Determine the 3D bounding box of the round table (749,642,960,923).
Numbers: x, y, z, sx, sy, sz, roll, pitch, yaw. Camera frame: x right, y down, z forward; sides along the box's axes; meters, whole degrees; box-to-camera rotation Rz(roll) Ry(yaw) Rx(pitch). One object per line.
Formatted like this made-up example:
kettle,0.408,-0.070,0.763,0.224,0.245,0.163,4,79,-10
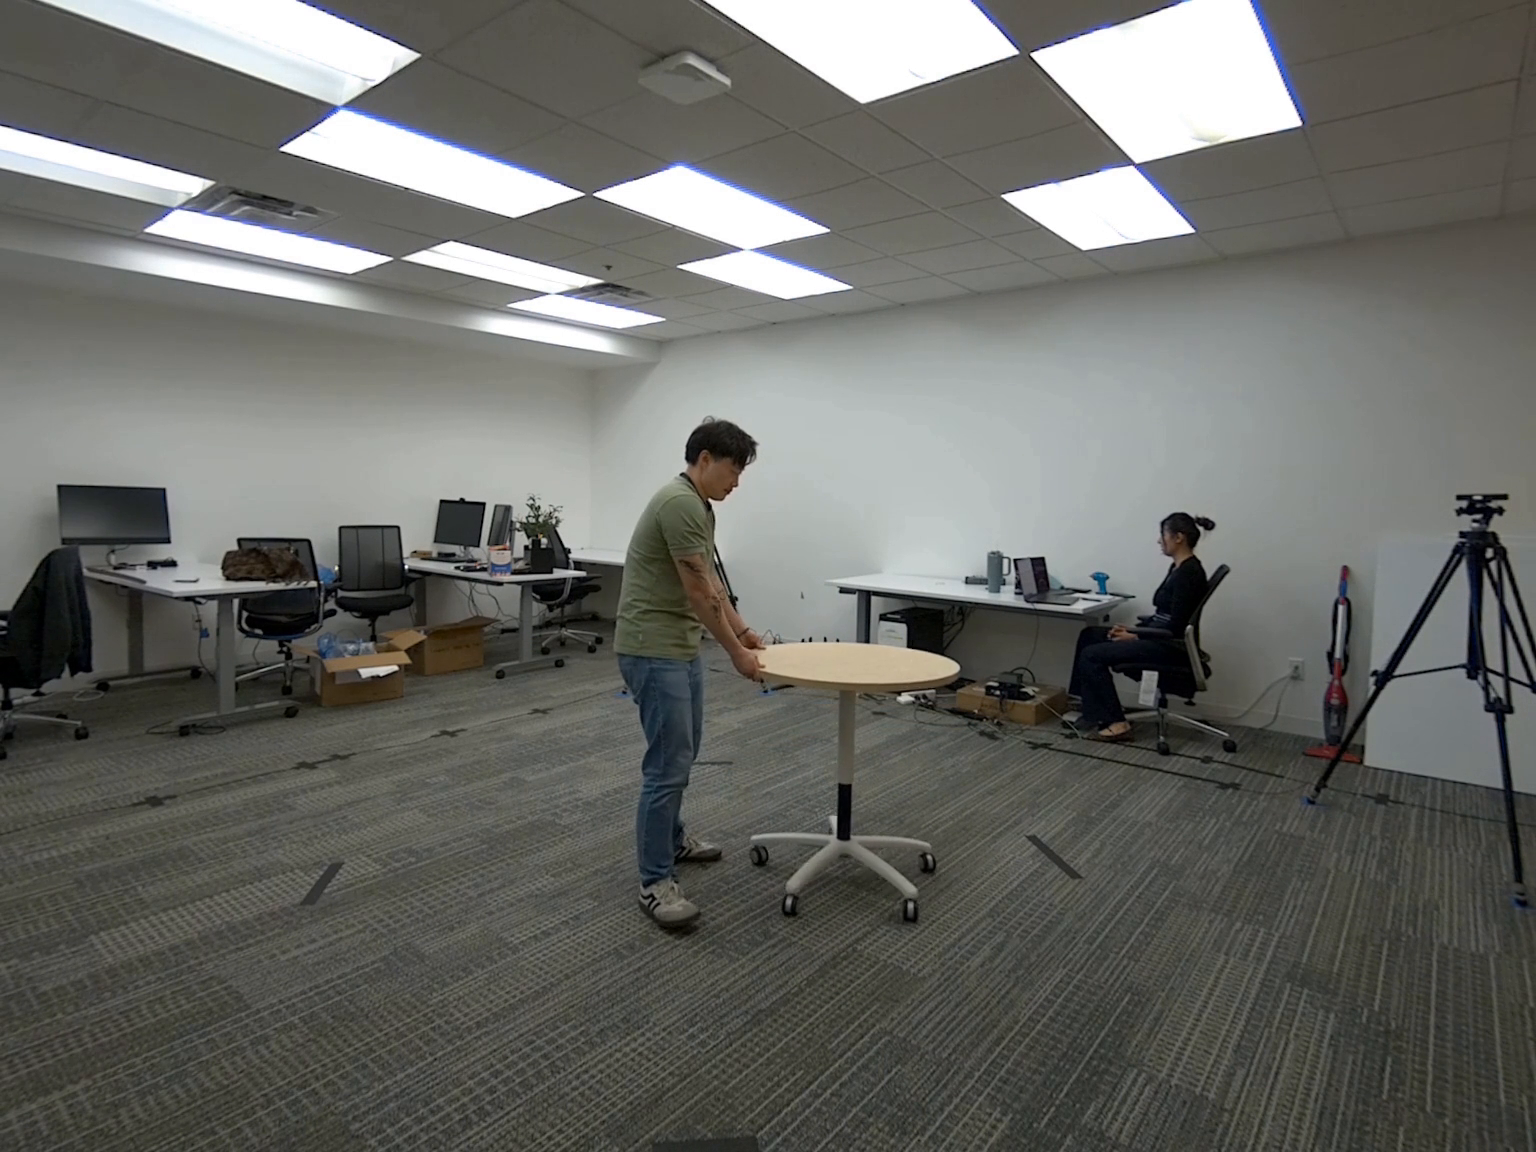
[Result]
round table,0.262,0.694,3.035,0.763,0.792,0.767,1,4,-2
